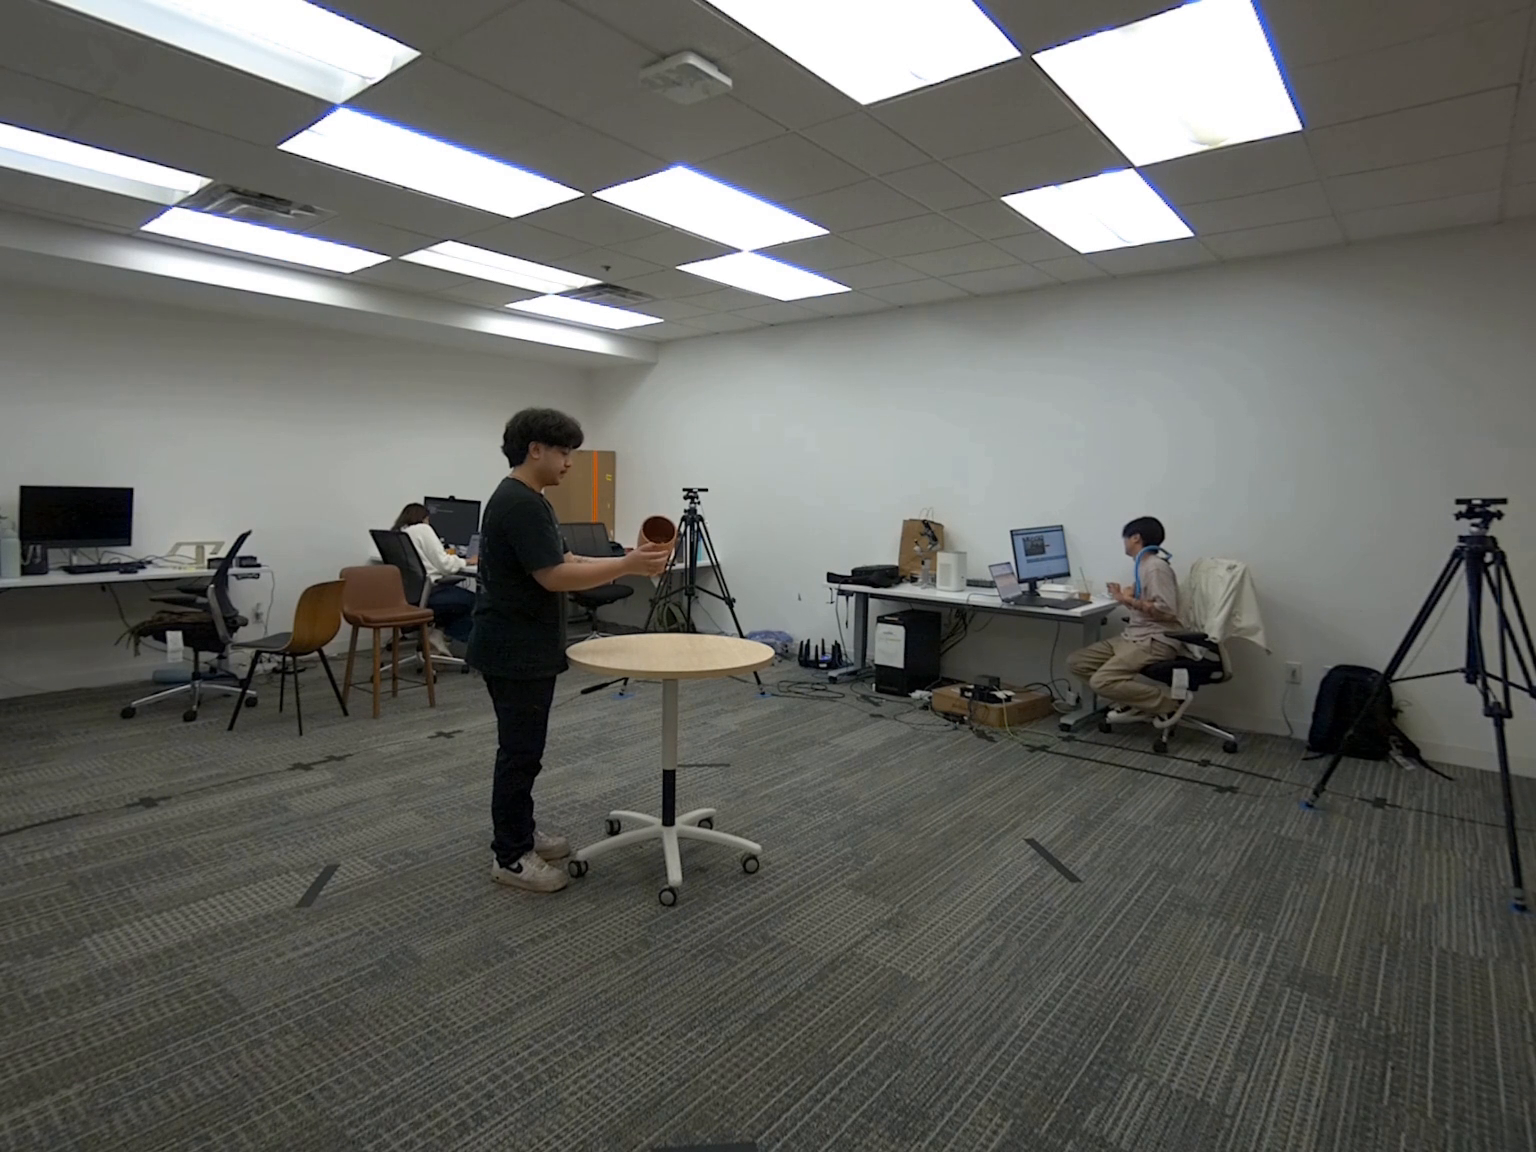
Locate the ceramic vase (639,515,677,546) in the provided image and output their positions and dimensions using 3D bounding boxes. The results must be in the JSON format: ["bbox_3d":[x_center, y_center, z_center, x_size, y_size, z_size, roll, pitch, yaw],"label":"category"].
[{"bbox_3d":[-0.428,-0.109,3.099,0.157,0.138,0.217,-28,-21,-29],"label":"ceramic vase"}]
